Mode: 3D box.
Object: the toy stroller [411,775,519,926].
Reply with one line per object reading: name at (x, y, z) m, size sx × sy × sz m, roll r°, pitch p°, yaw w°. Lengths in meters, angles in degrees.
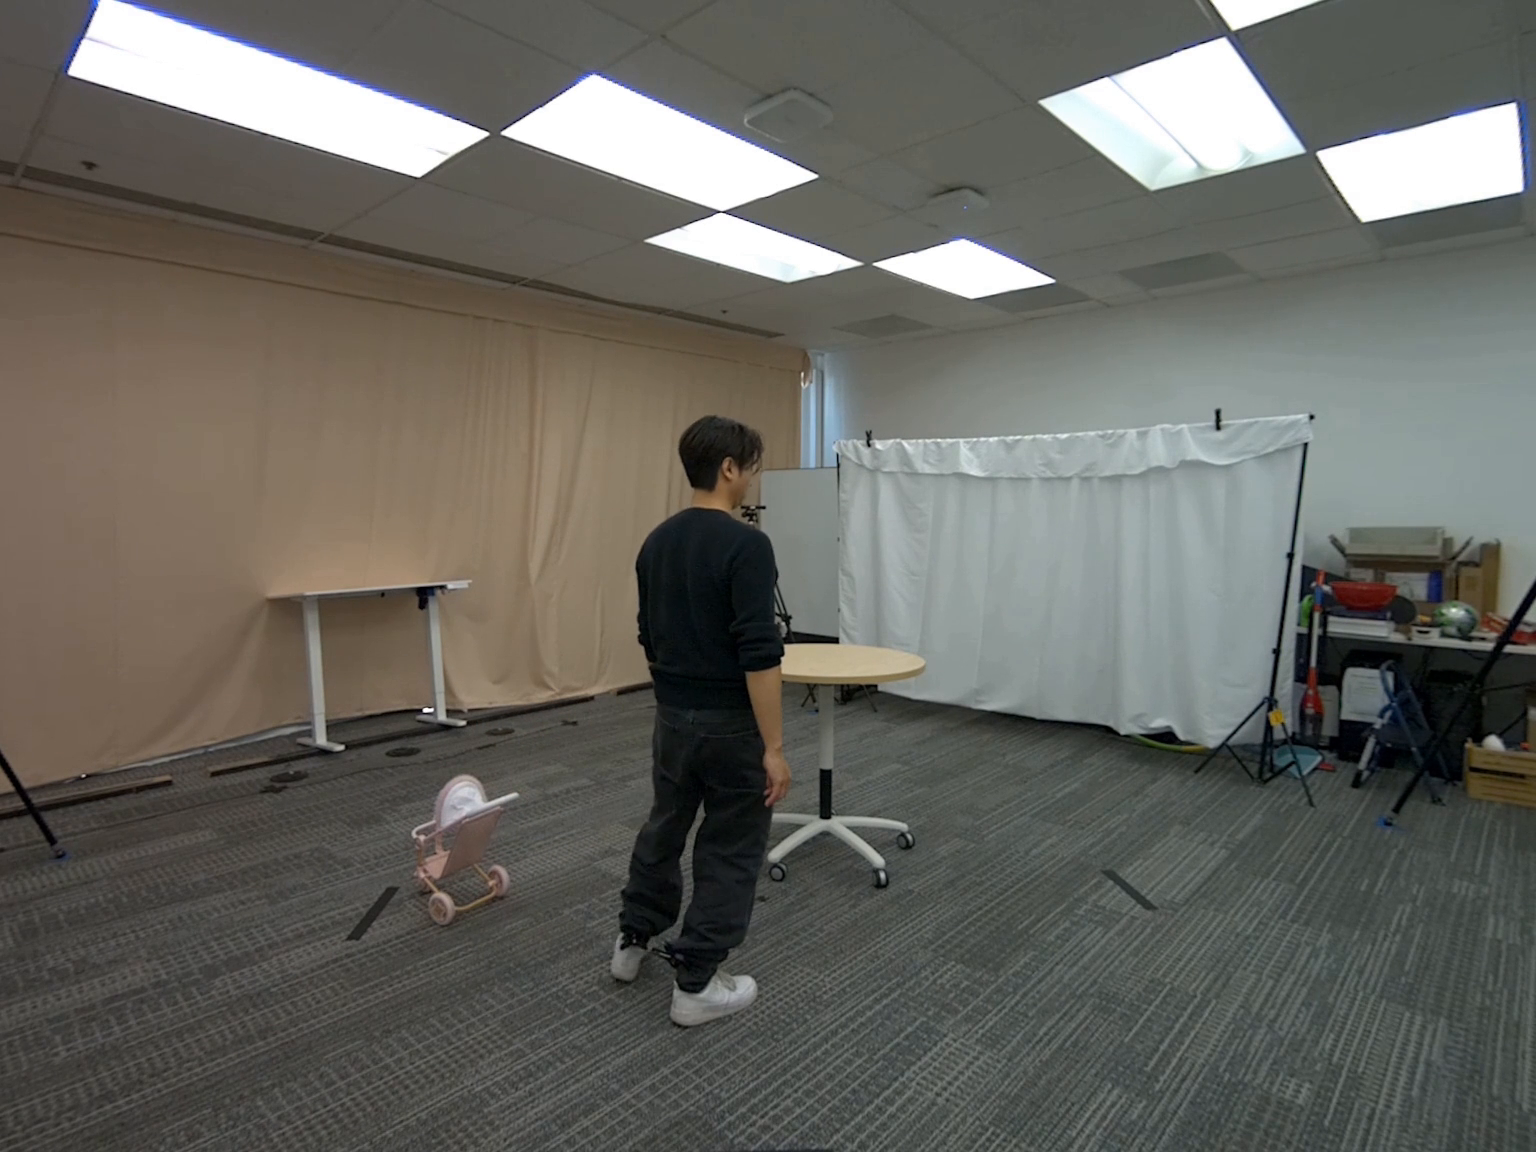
toy stroller at (-1.089, 0.935, 2.944) m, size 0.353 × 0.532 × 0.273 m, roll 23°, pitch 16°, yaw 34°
